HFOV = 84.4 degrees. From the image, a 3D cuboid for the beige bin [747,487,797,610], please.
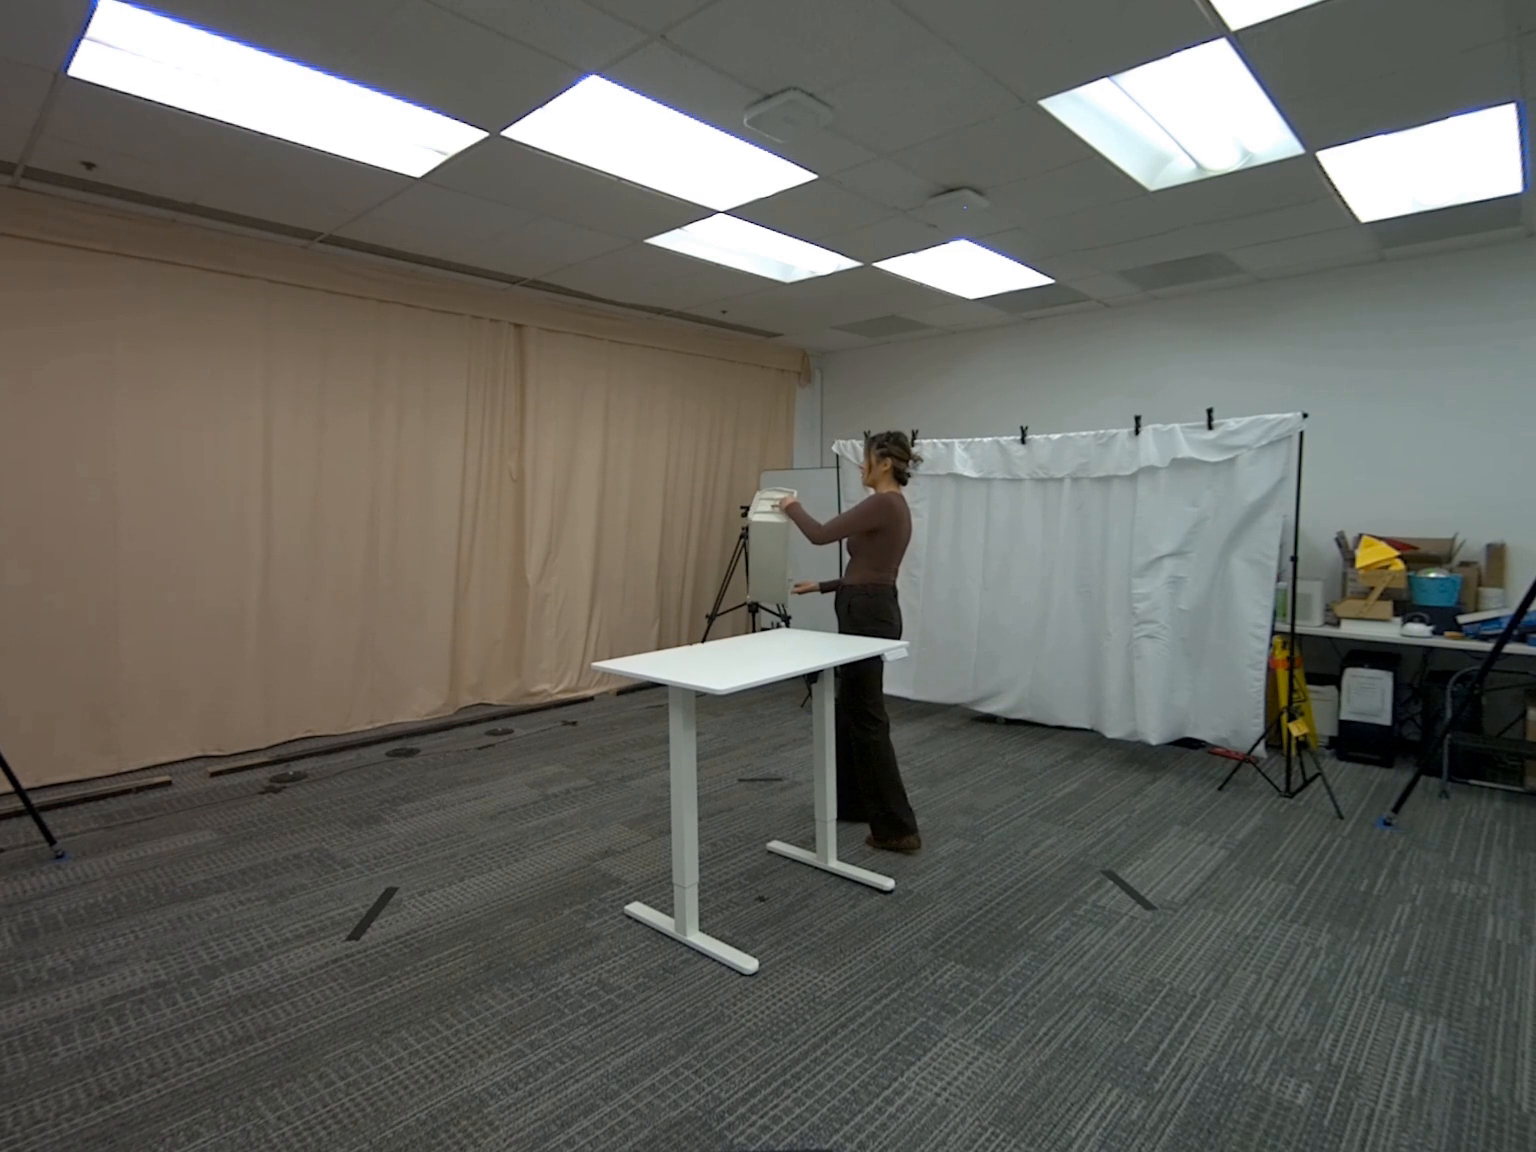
[{"bbox_3d":[0.030,-0.131,3.747,0.191,0.416,0.379,4,25,8],"label":"beige bin"}]
